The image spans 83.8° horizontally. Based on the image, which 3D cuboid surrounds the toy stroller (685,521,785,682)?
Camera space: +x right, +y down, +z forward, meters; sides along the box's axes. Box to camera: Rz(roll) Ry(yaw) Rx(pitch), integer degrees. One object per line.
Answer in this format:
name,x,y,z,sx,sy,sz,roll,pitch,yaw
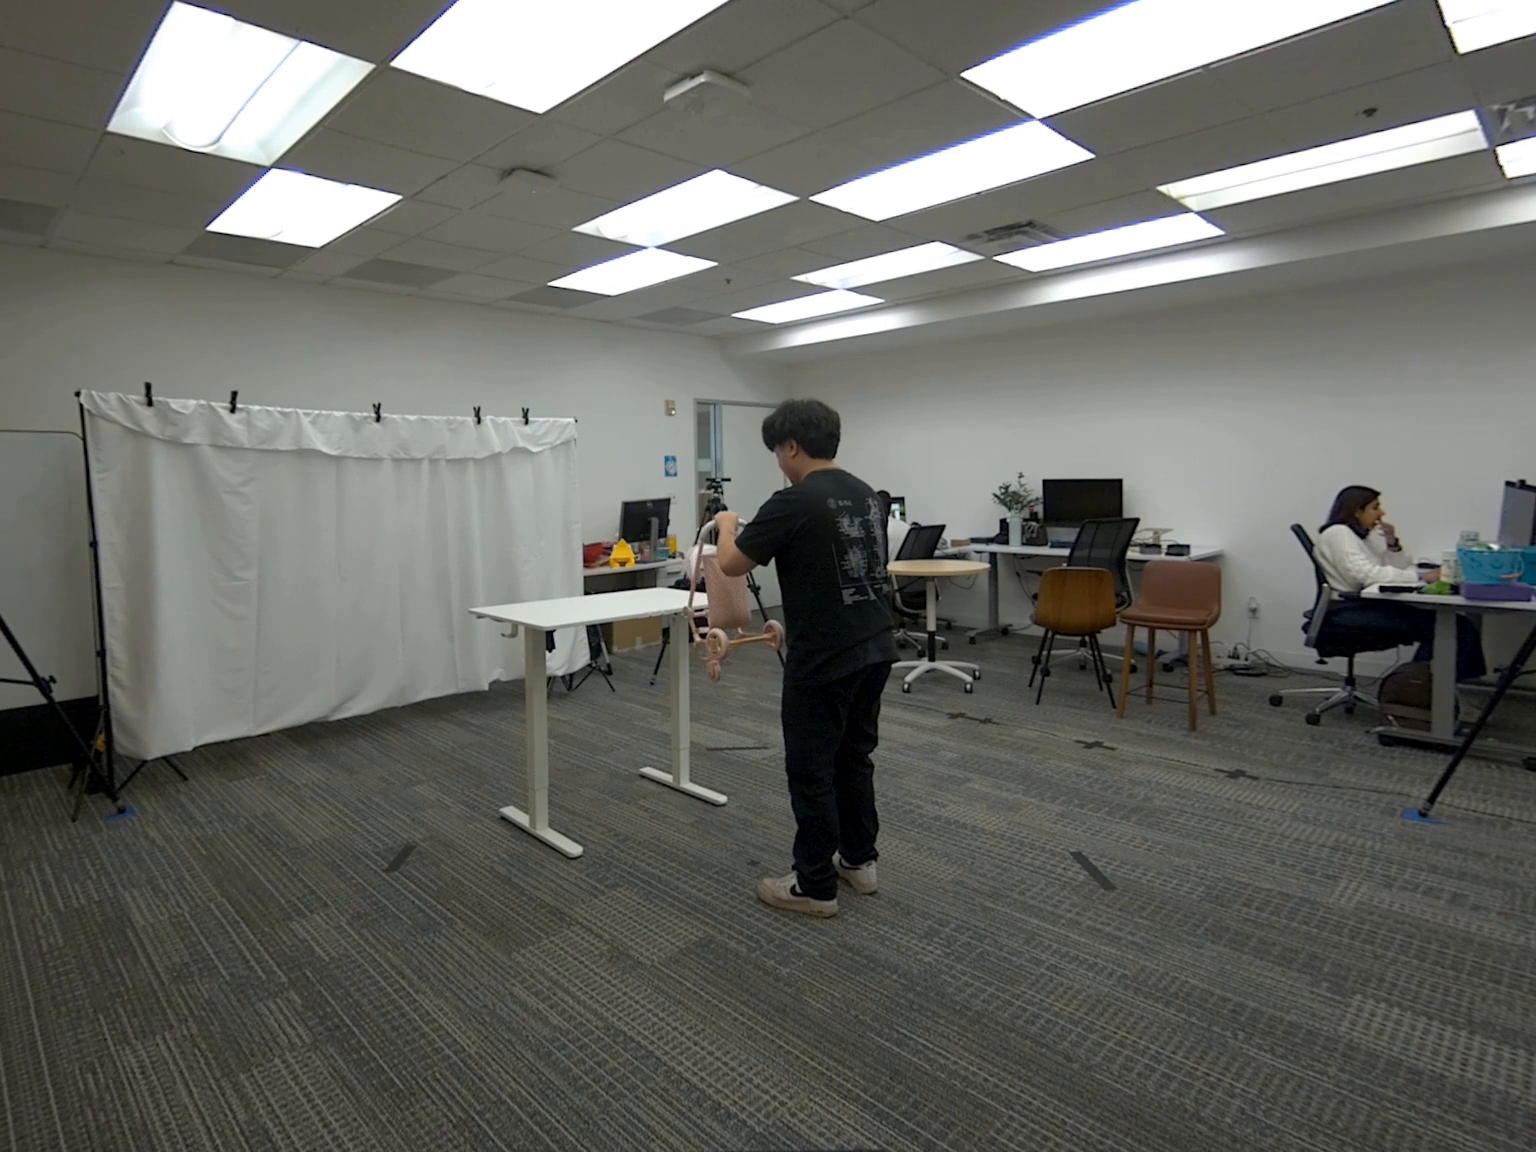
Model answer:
toy stroller,-0.165,0.108,3.107,0.275,0.542,0.345,-6,-13,-31
